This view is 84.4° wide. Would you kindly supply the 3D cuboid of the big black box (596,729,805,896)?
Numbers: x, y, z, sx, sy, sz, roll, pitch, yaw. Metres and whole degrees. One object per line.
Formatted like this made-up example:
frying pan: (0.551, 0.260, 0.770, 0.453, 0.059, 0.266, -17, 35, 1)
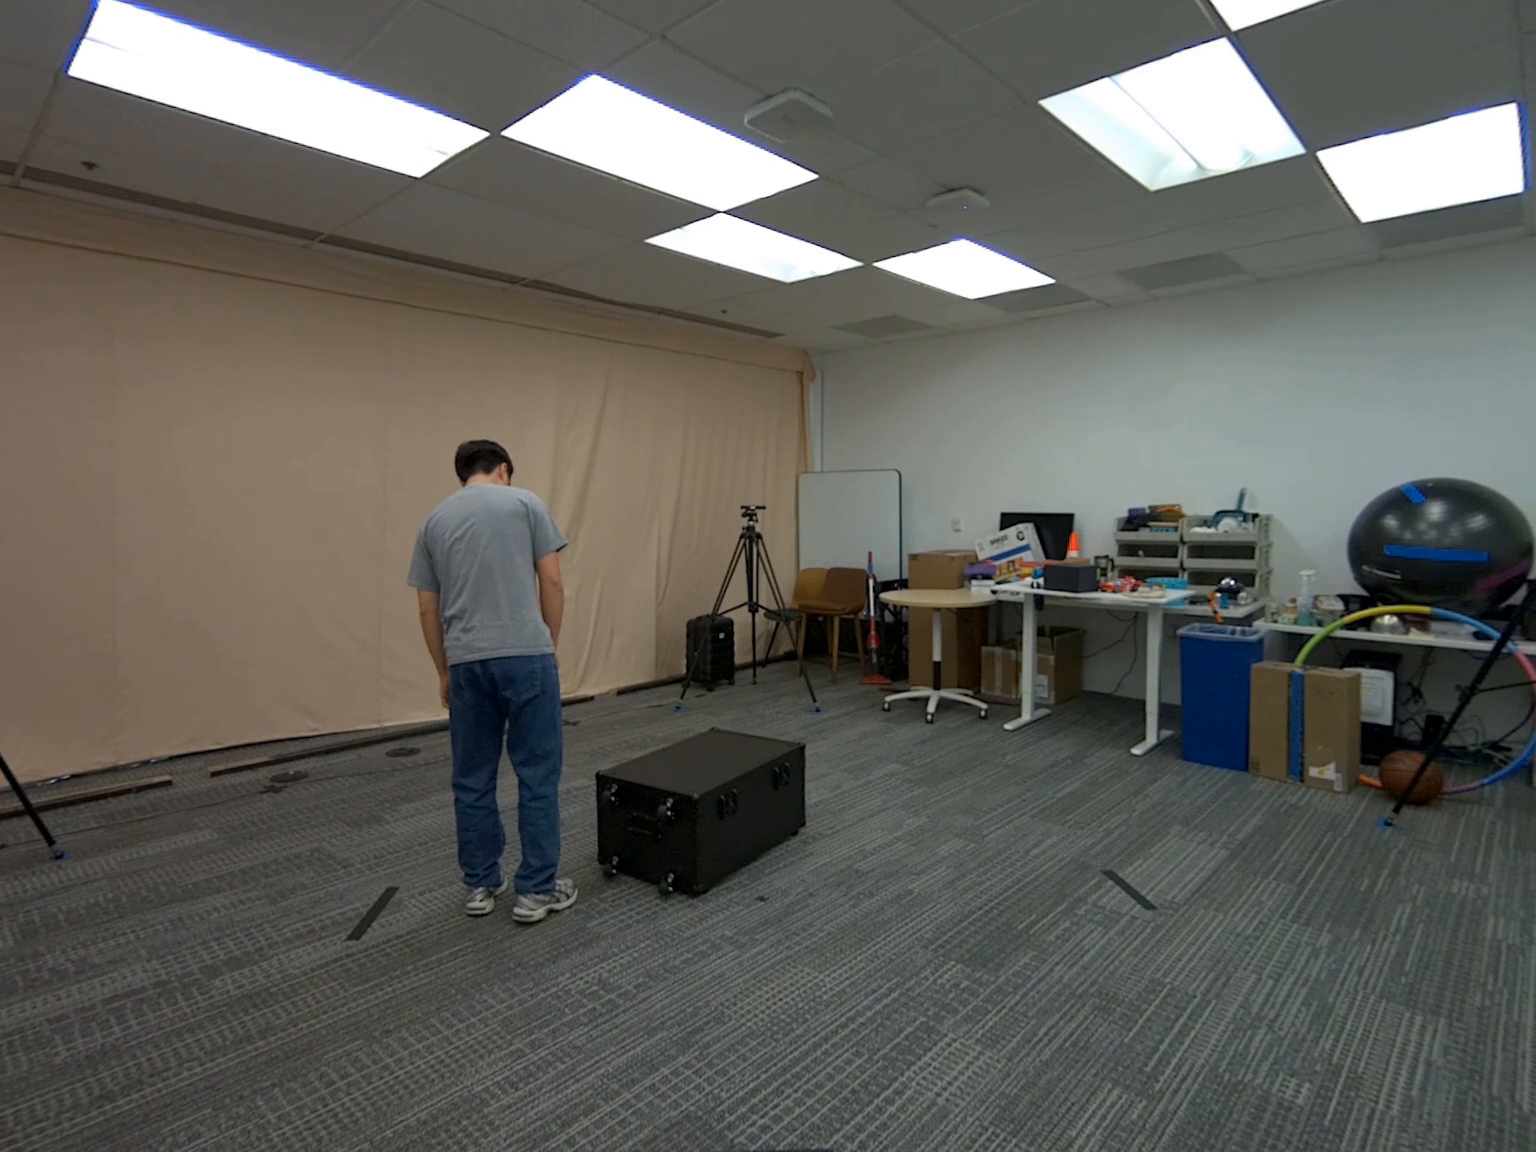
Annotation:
big black box: (-0.264, 0.922, 3.382, 0.537, 0.395, 0.838, 3, 6, 33)
